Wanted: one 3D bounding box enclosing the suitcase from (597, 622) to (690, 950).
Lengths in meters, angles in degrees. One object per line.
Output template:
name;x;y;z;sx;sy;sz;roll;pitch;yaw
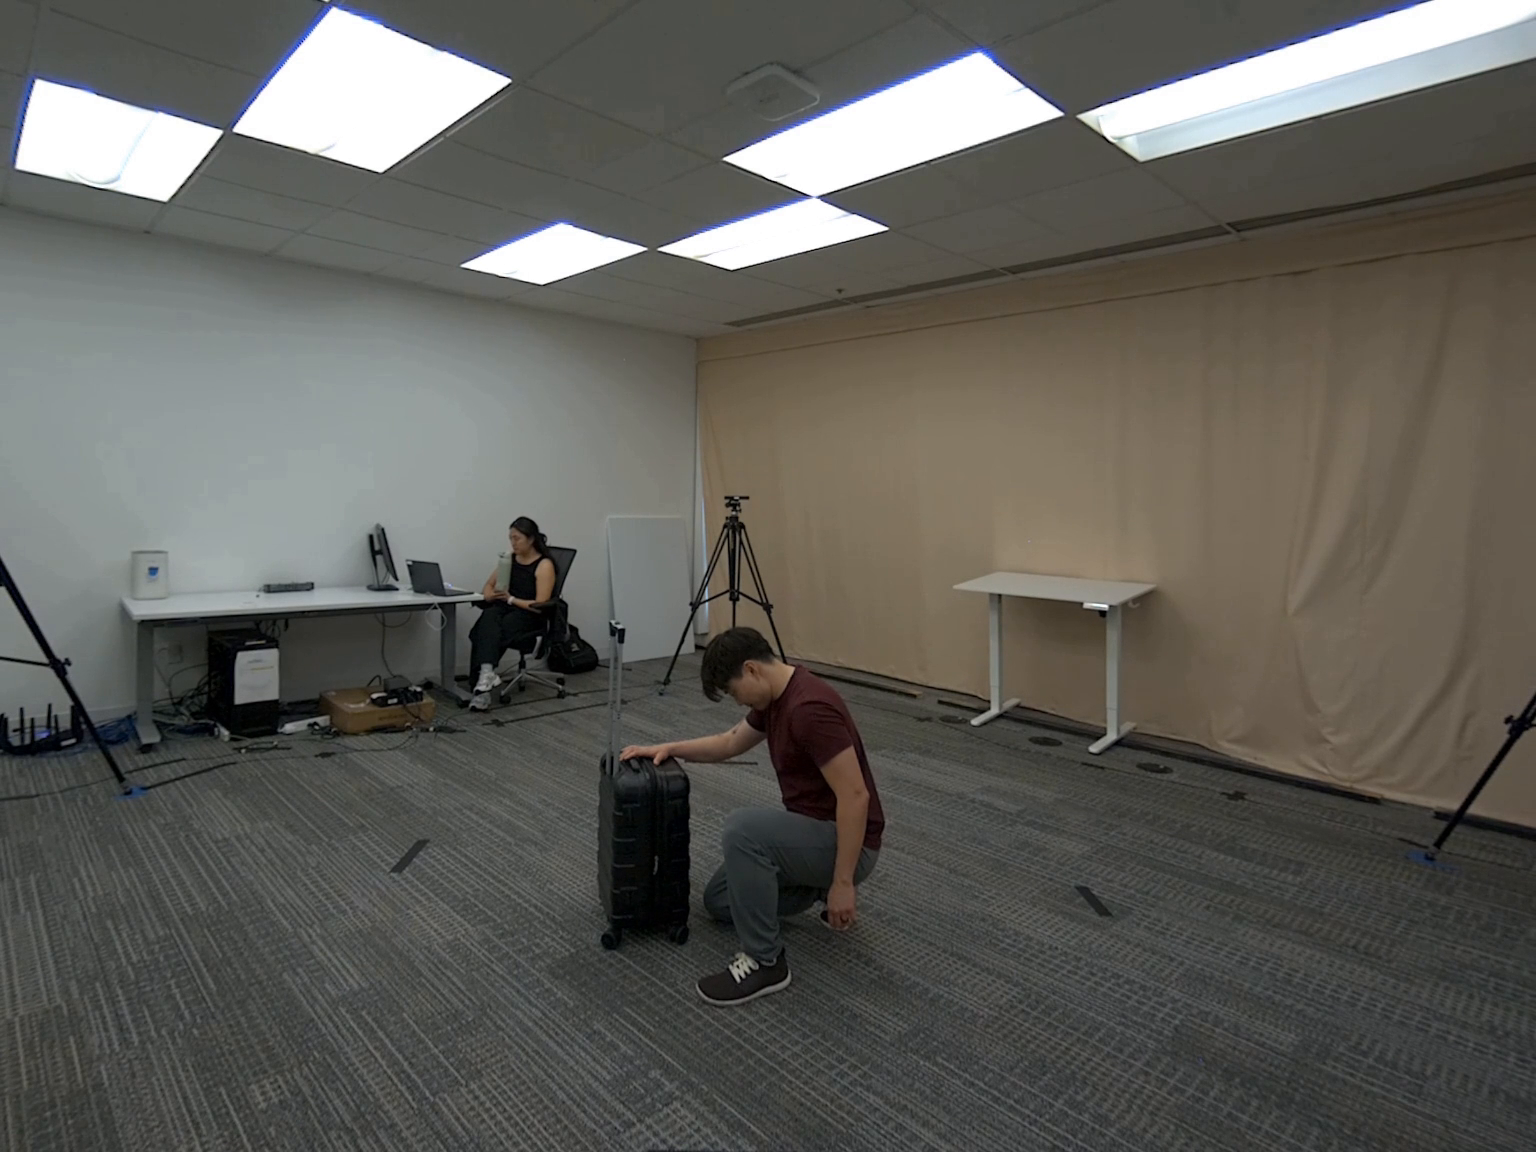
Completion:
suitcase;-0.406;0.650;2.735;0.254;0.976;0.389;1;4;-15
